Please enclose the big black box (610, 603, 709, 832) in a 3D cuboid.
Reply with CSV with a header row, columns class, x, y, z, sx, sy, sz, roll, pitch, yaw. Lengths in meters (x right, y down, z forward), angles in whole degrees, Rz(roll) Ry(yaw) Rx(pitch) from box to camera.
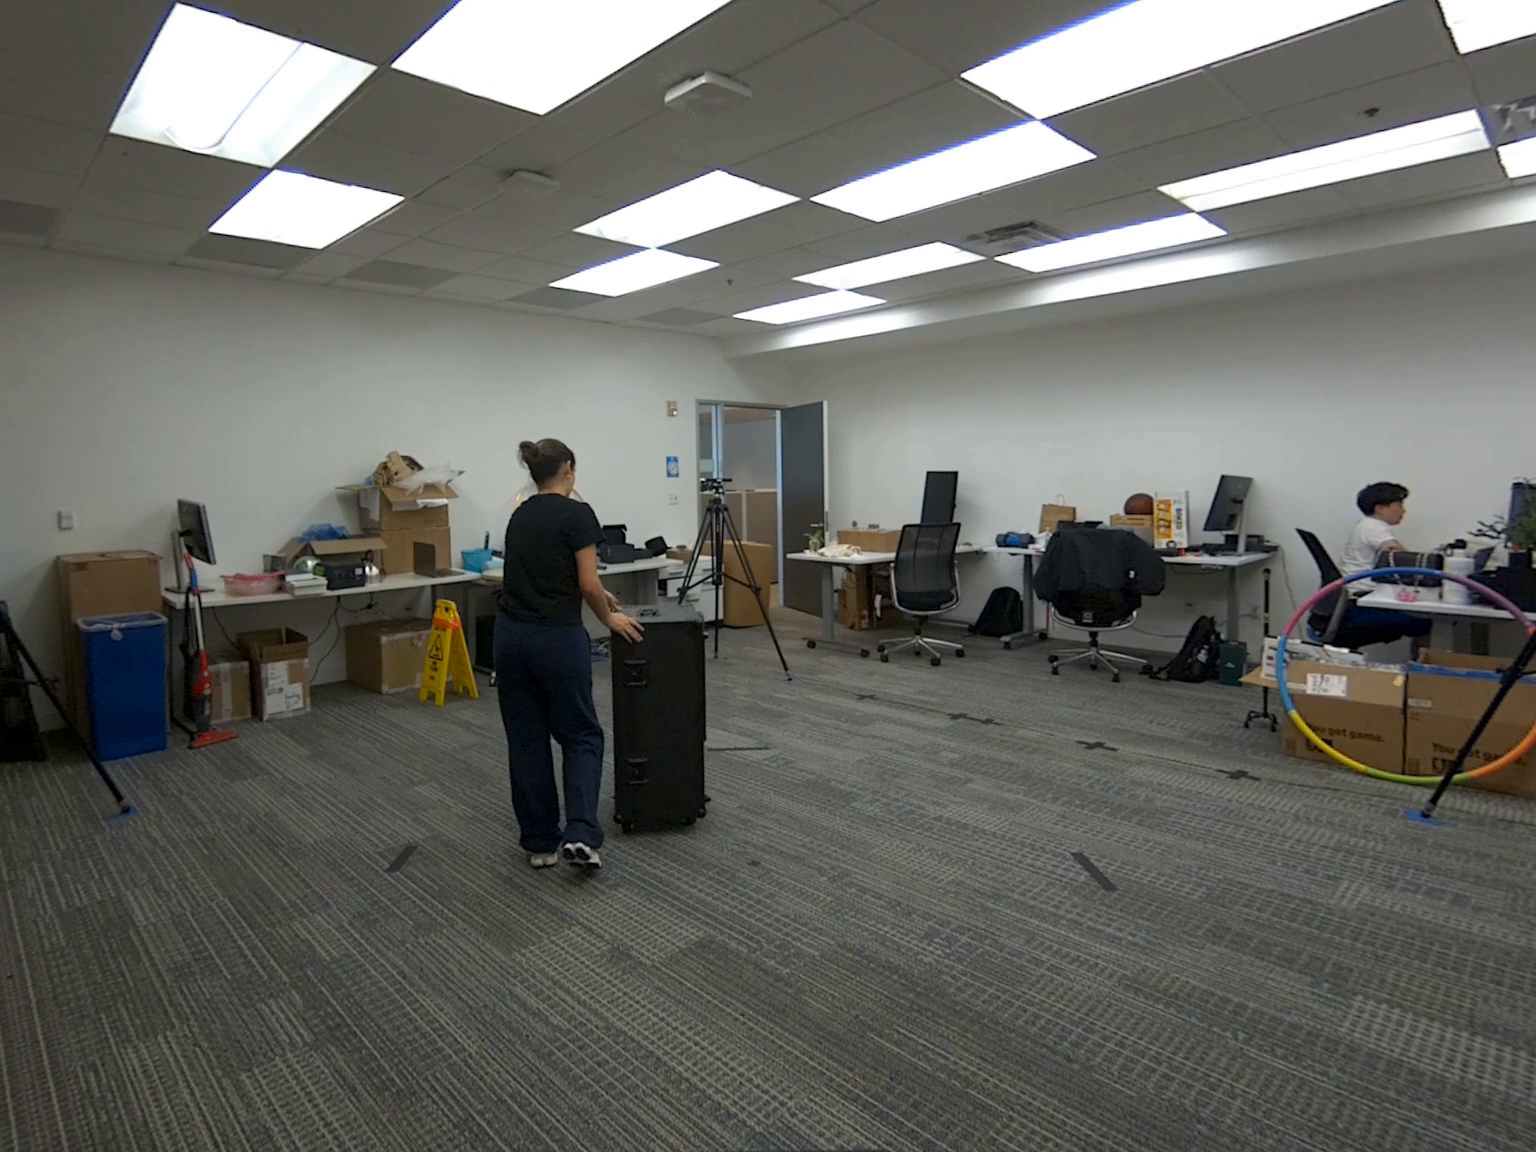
class,x,y,z,sx,sy,sz,roll,pitch,yaw
big black box,-0.457,0.578,3.573,0.393,0.859,0.526,0,3,-9
